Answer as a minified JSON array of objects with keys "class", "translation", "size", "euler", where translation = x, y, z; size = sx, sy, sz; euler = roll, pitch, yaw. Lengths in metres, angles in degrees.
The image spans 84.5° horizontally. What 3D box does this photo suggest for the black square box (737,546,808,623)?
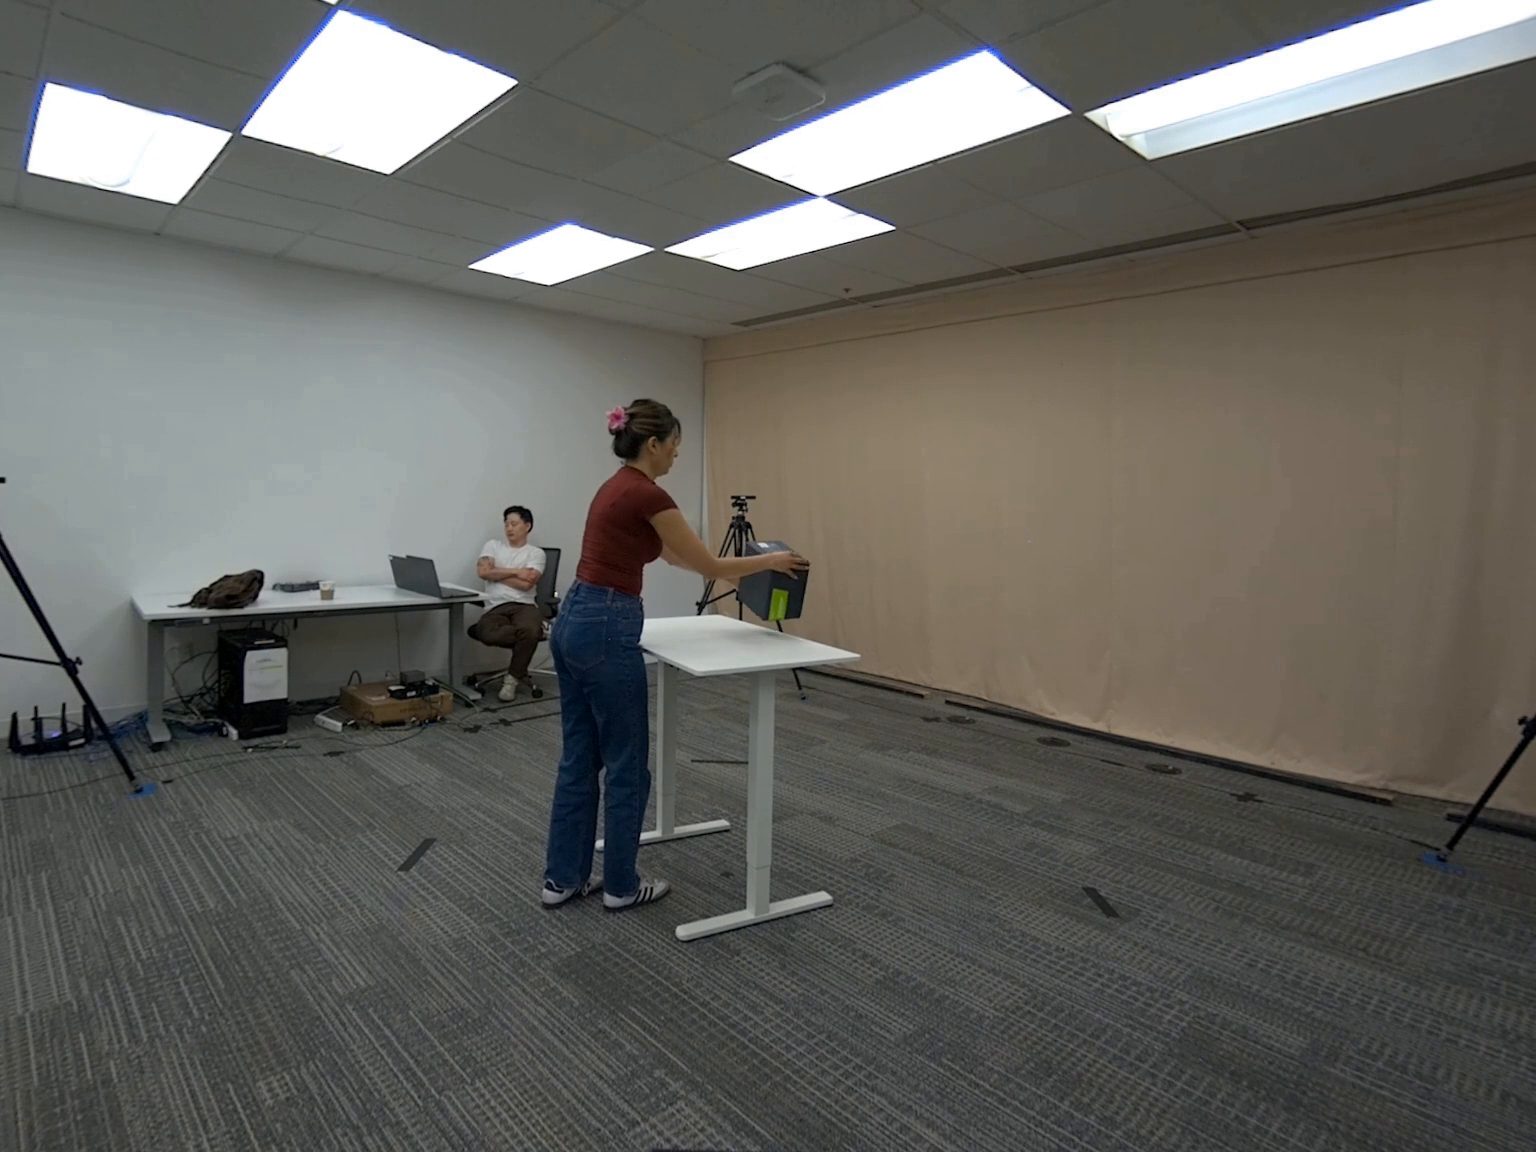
[{"class":"black square box","translation":[0.020,0.027,3.110],"size":[0.153,0.225,0.223],"euler":[-1,21,-28]}]
